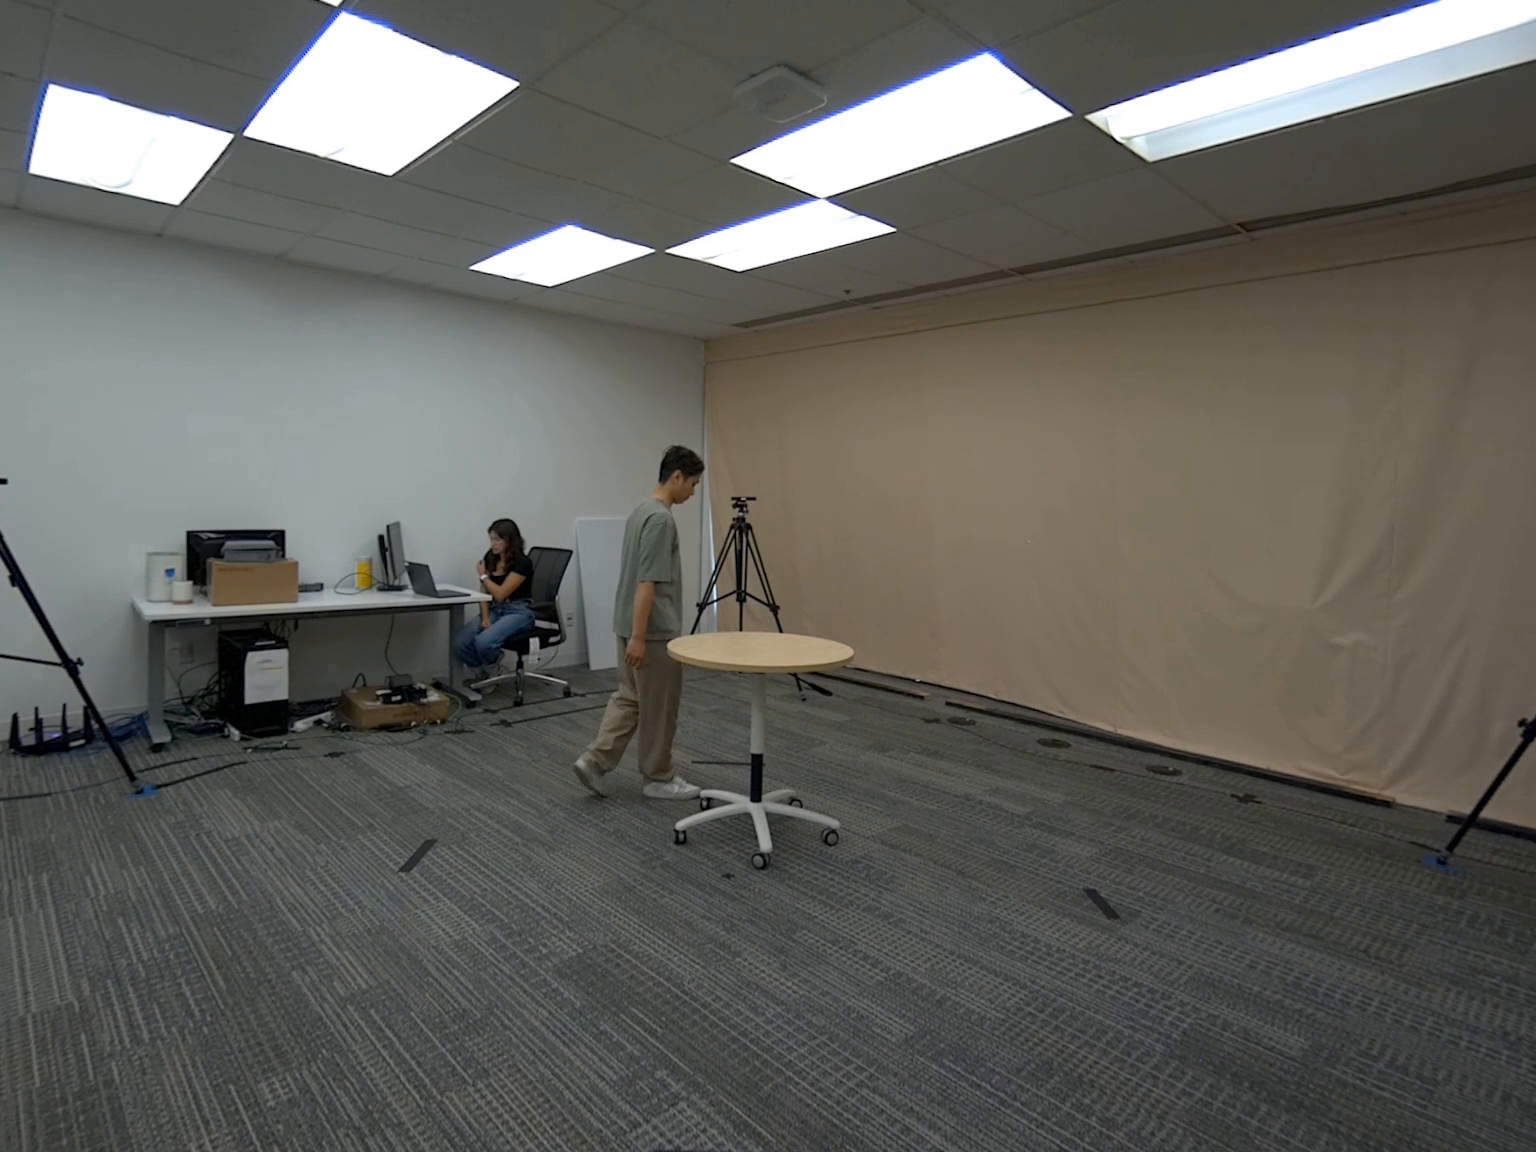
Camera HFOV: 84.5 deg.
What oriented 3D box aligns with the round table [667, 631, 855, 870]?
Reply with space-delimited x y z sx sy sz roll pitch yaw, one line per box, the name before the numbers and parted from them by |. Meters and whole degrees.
round table | -0.041 0.682 3.475 0.784 0.784 0.788 1 4 -1
